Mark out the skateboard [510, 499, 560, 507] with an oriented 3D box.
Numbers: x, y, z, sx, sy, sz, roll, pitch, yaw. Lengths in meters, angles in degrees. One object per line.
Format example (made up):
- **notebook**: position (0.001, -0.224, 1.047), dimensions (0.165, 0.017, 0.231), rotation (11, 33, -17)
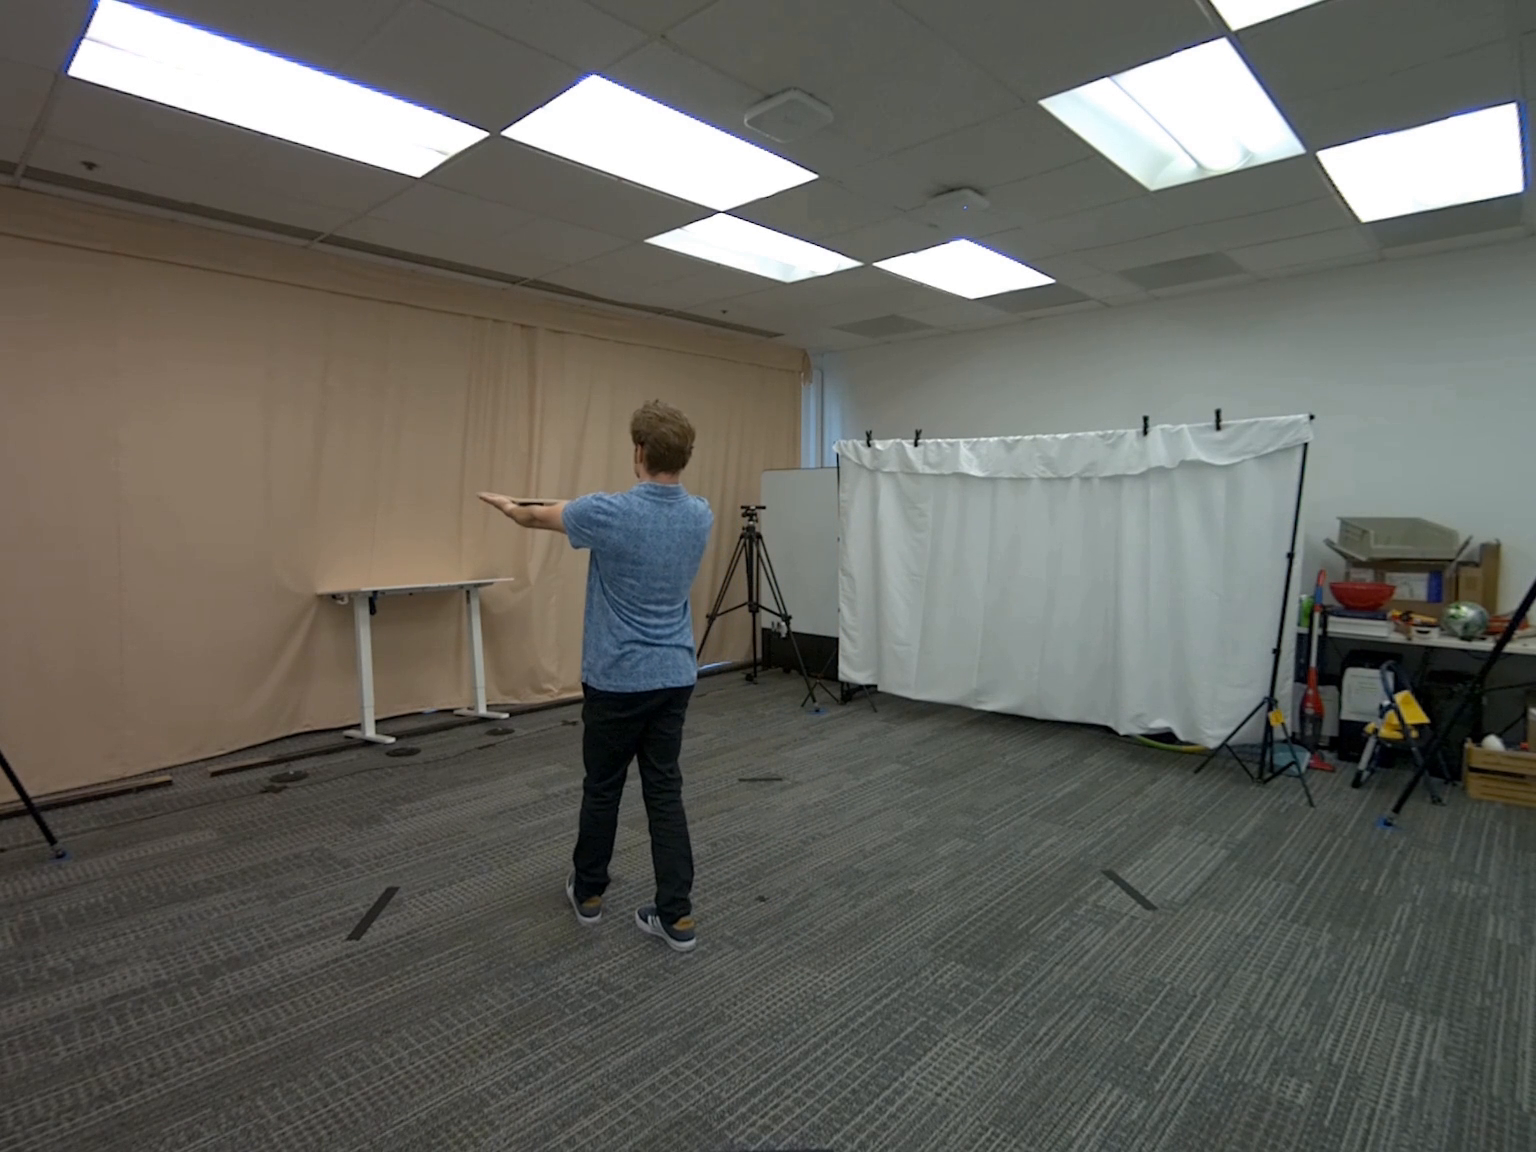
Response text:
- **skateboard**: position (-0.748, -0.248, 3.222), dimensions (0.762, 0.110, 0.199), rotation (2, 1, -34)
